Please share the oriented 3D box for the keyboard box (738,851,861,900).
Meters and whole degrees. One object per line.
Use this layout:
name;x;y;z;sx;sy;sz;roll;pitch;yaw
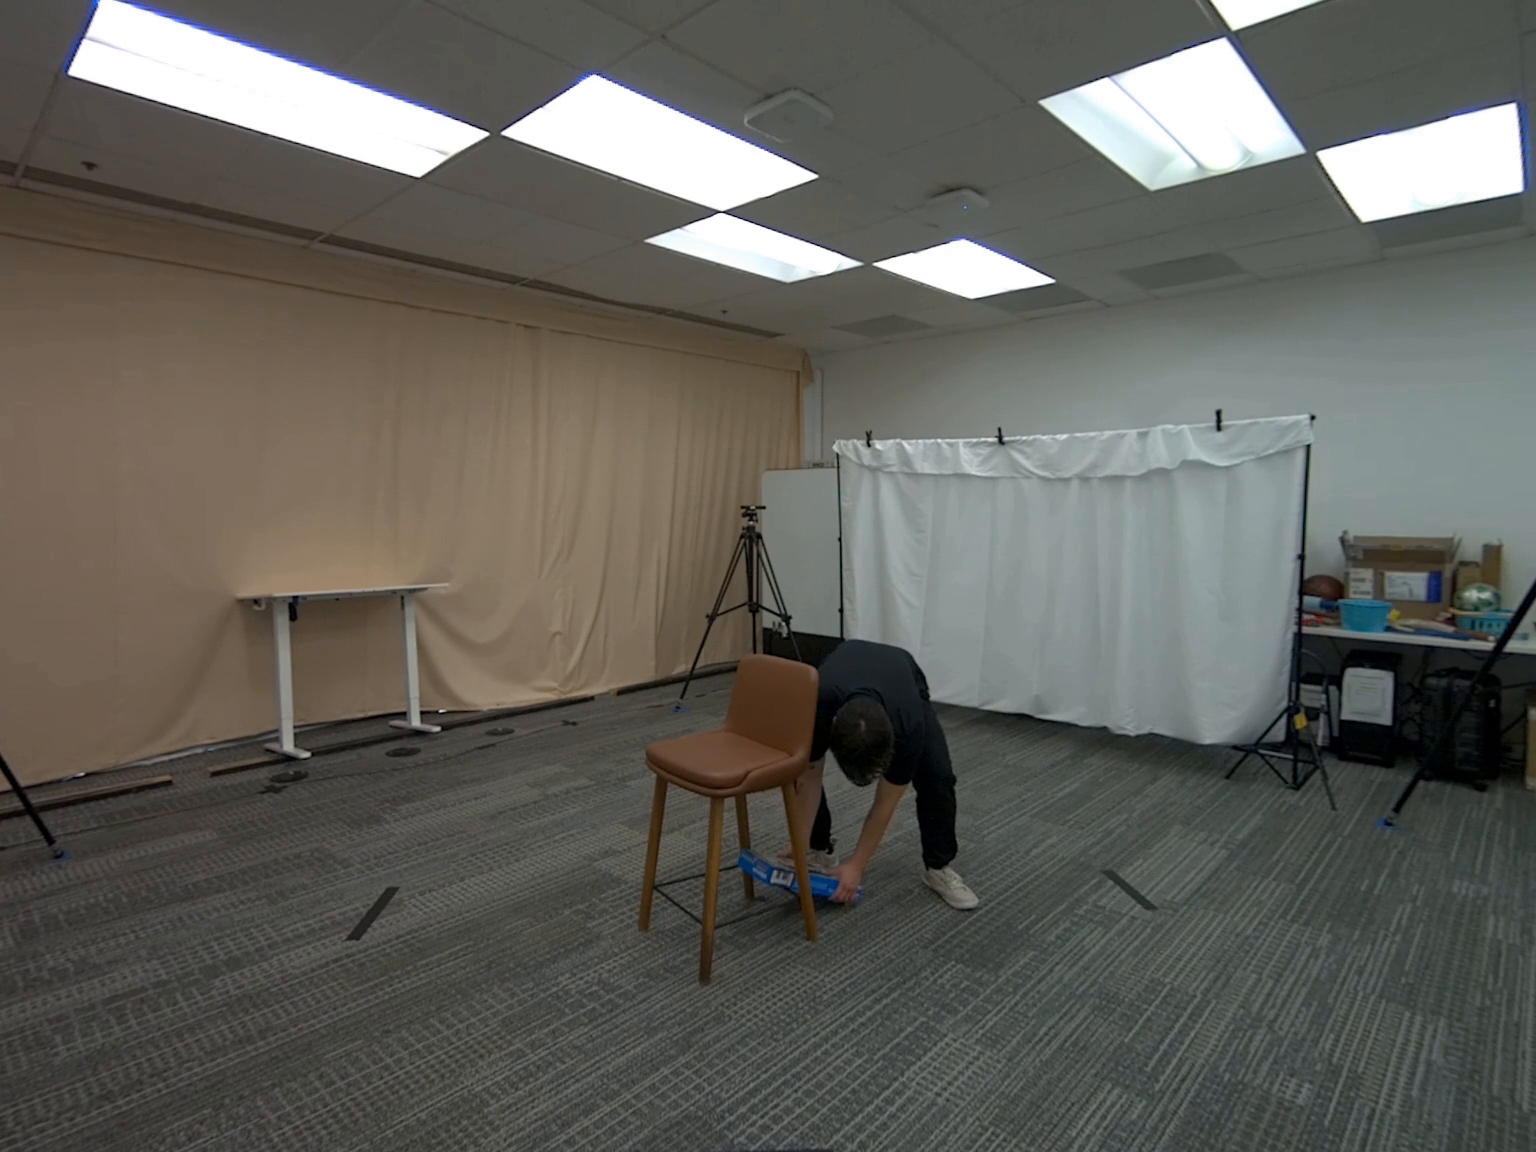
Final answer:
keyboard box;0.116;1.027;2.888;0.422;0.059;0.182;25;-11;-35
